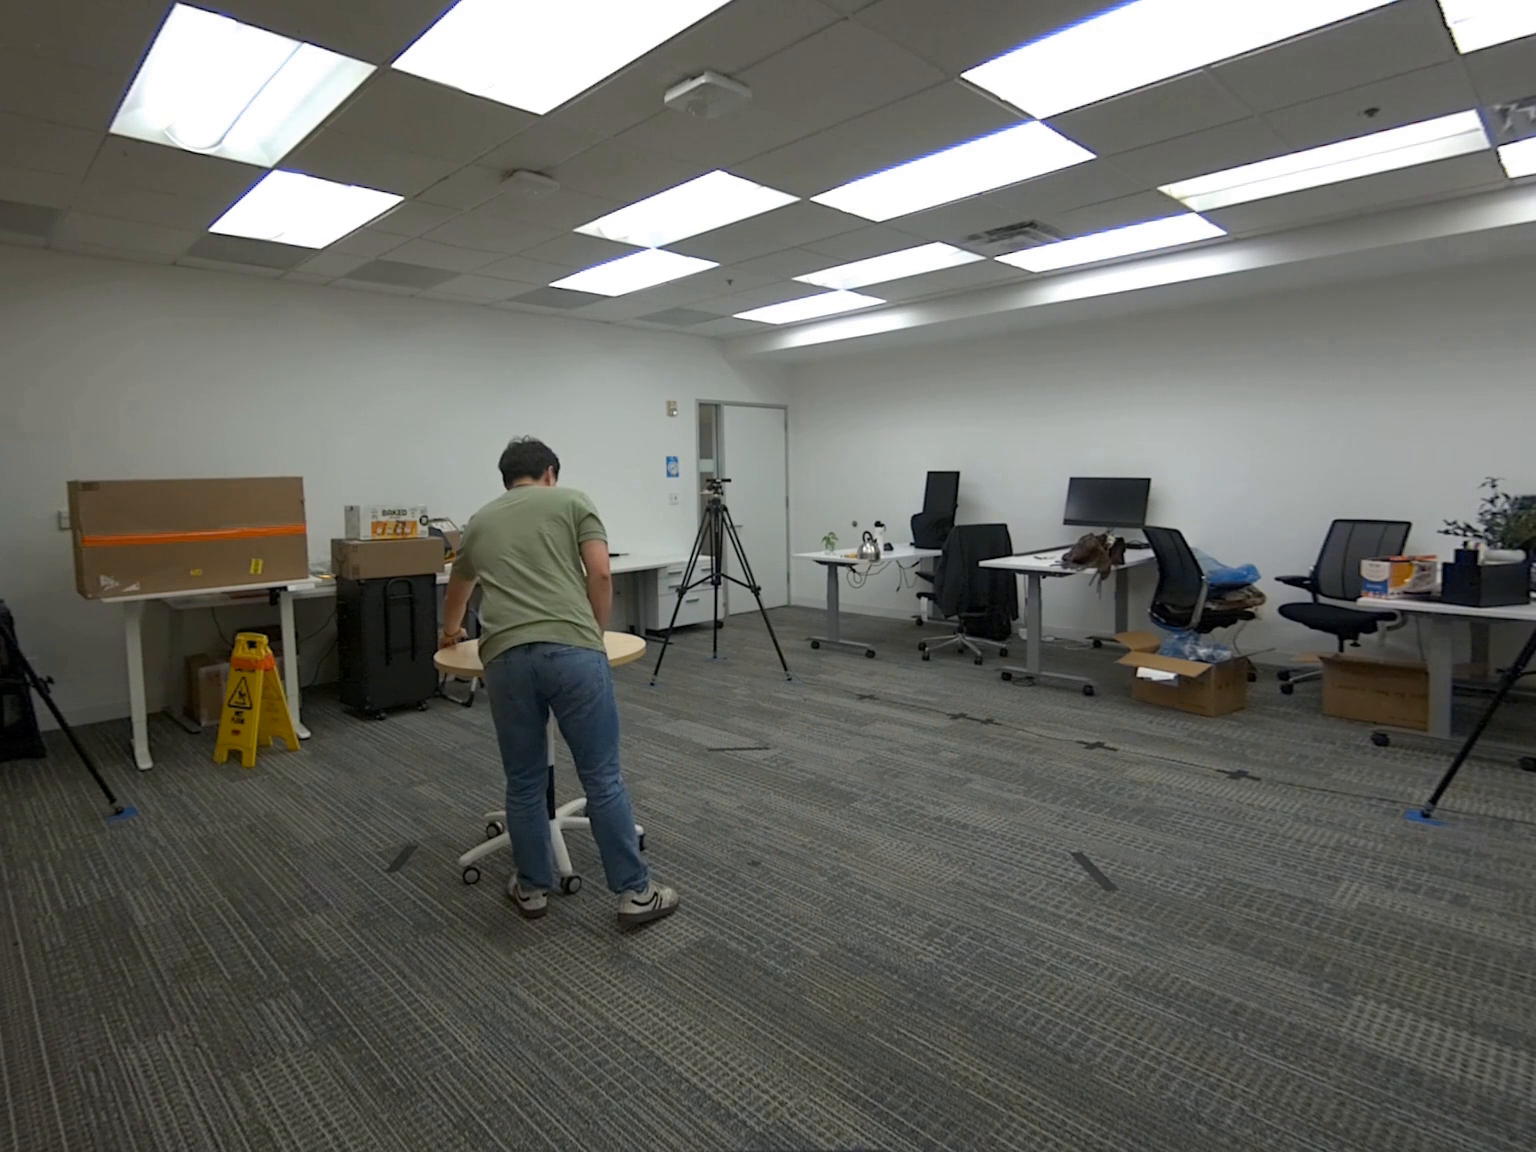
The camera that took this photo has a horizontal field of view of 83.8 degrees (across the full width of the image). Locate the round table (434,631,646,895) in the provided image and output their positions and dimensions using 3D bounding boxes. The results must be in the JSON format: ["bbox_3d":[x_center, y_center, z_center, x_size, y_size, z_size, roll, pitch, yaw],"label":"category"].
[{"bbox_3d":[-0.821,0.659,3.189,0.763,0.791,0.767,-2,4,-1],"label":"round table"}]
